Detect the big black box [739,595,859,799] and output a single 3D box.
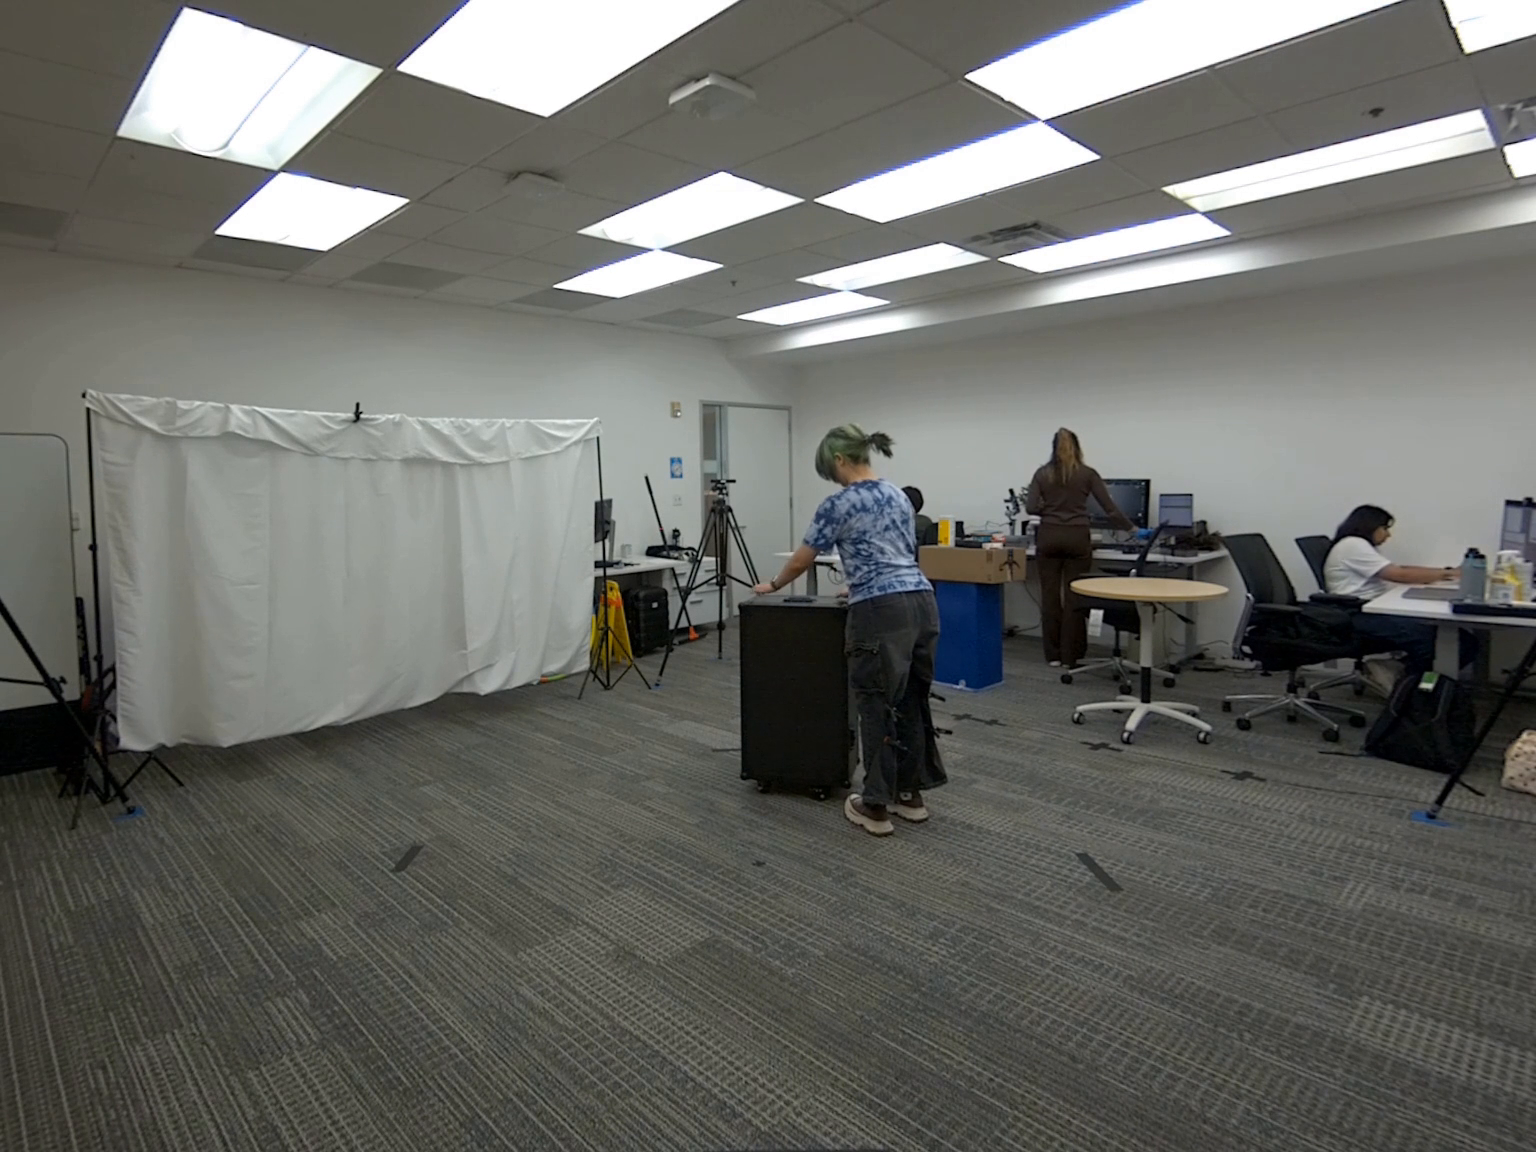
[{"bbox_3d":[0.144,0.532,3.887,0.529,0.860,0.391,0,2,15],"label":"big black box"}]
